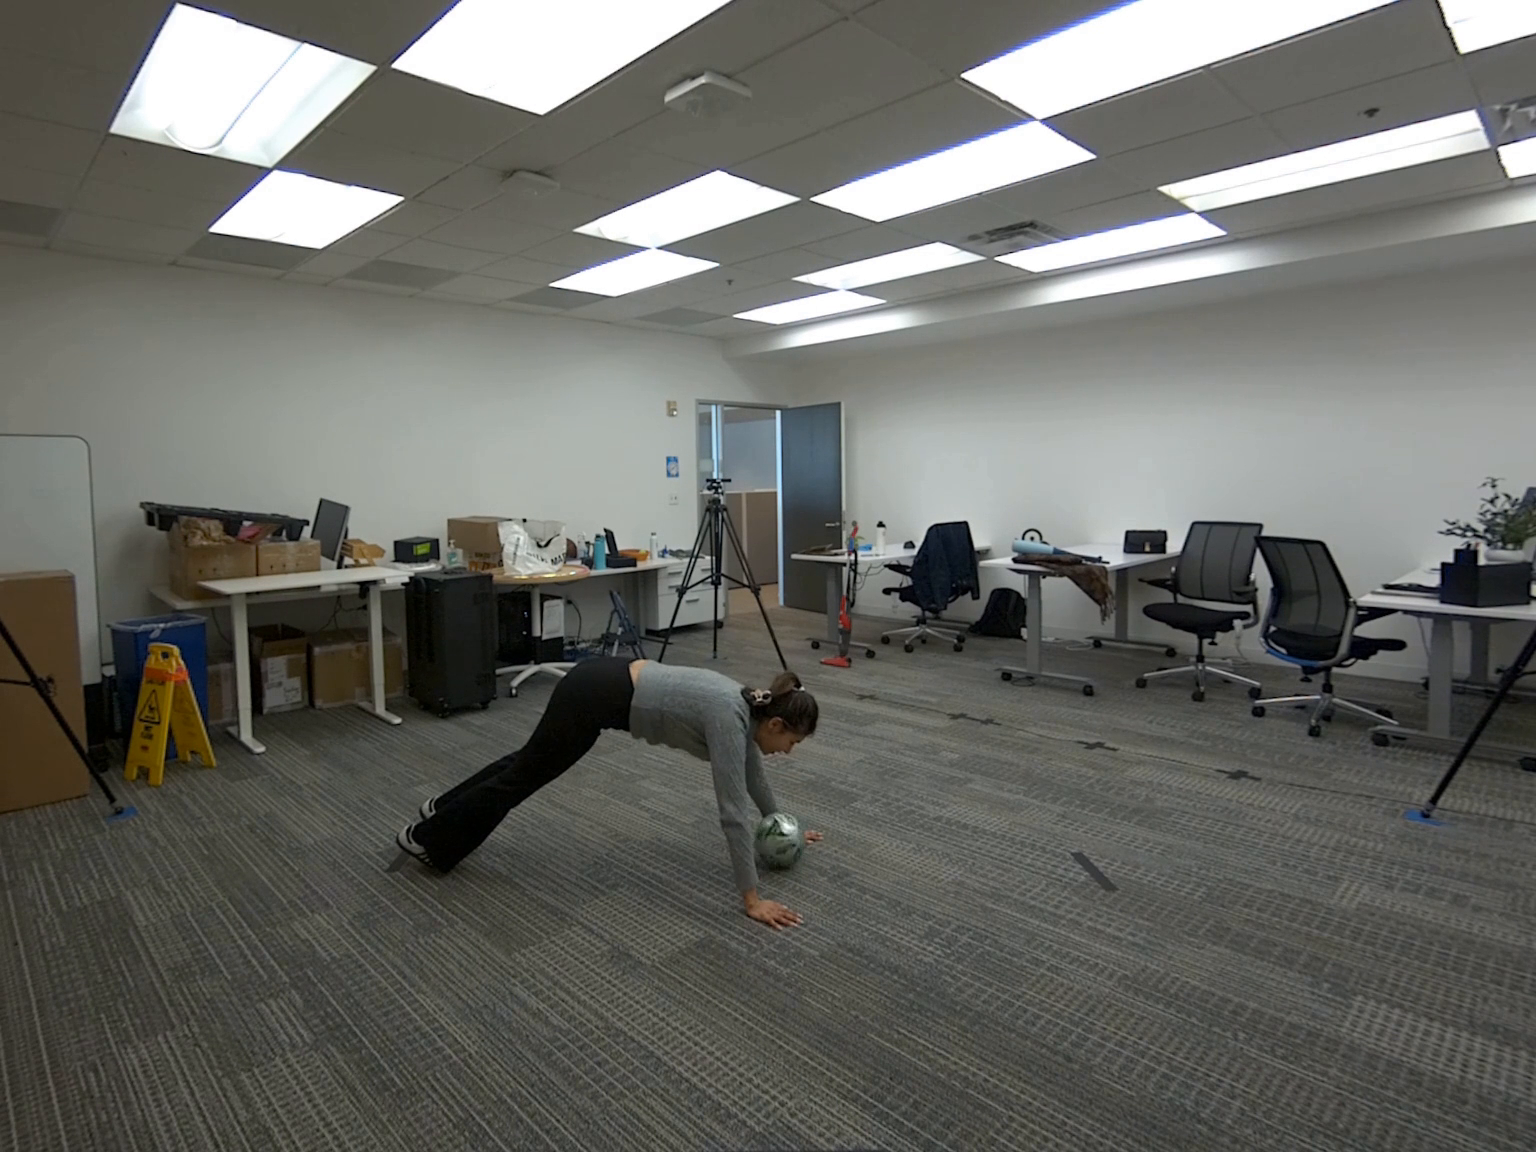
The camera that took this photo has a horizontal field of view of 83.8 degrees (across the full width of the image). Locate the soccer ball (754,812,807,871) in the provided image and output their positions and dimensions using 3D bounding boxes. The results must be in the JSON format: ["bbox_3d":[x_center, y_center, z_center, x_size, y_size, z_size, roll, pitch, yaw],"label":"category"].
[{"bbox_3d":[0.039,0.948,3.078,0.187,0.187,0.188,-1,5,-2],"label":"soccer ball"}]
